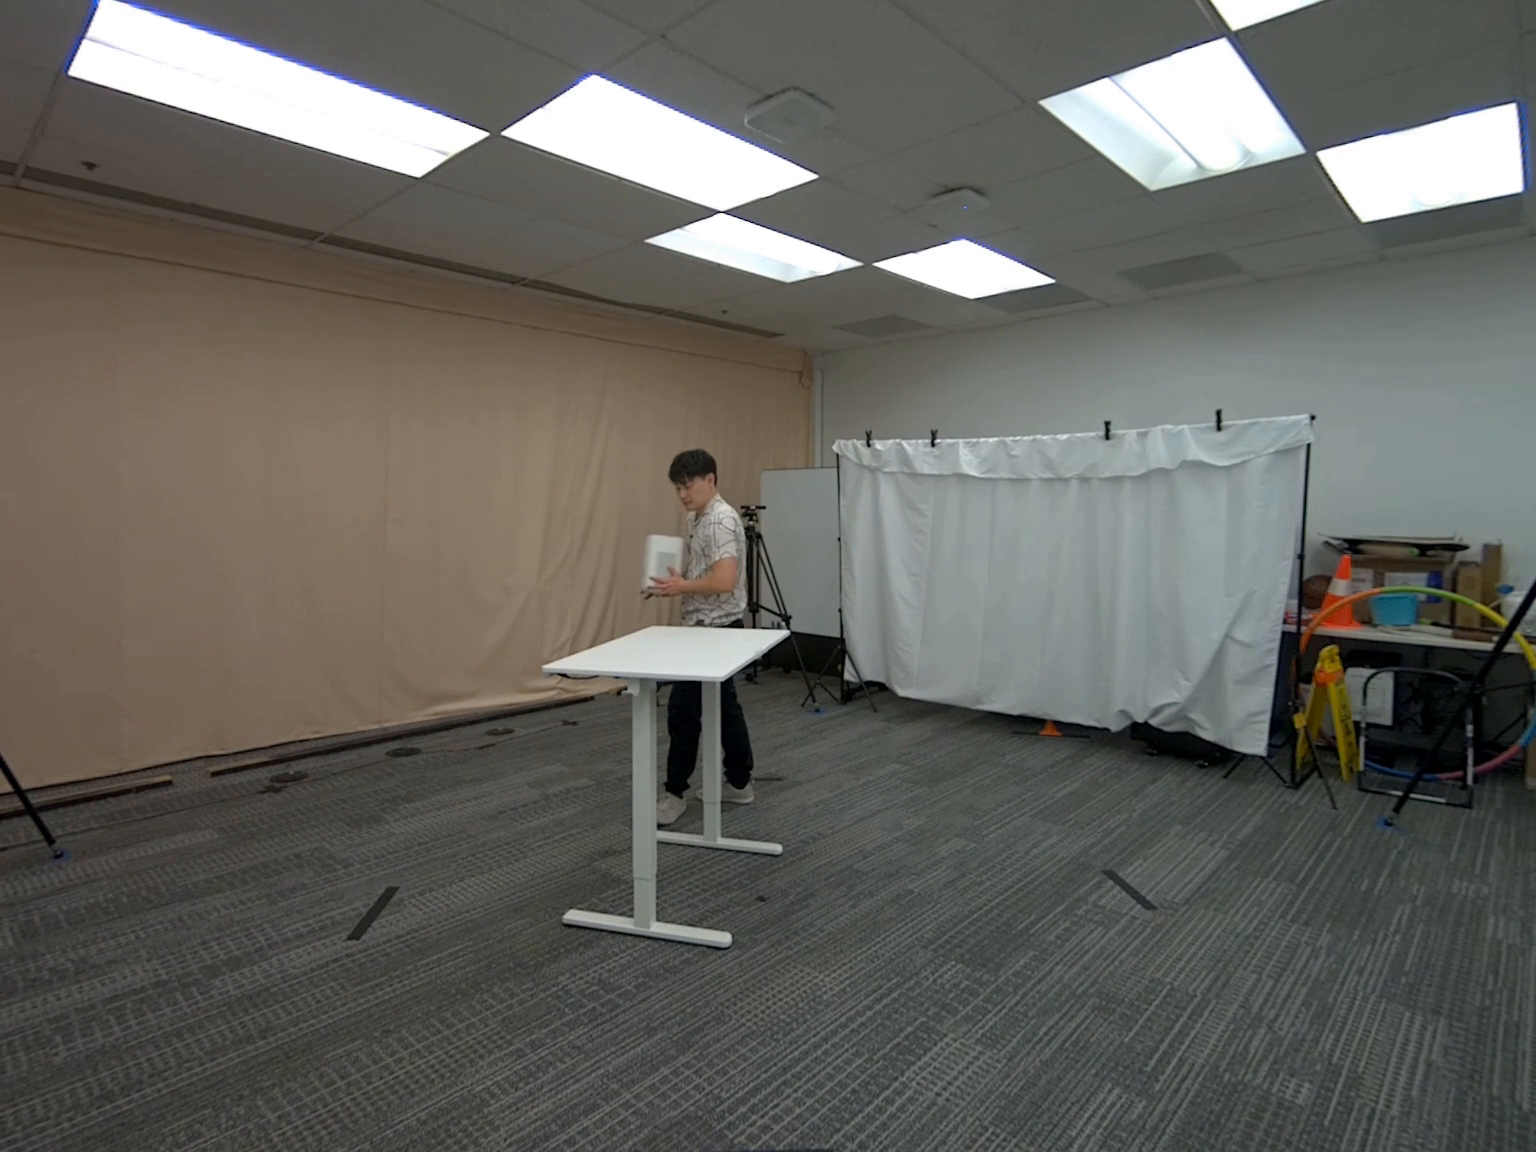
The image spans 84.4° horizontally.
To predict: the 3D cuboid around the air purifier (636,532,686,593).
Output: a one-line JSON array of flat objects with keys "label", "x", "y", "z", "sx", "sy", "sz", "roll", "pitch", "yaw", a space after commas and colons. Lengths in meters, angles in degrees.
[{"label": "air purifier", "x": -0.484, "y": -0.056, "z": 3.846, "sx": 0.168, "sy": 0.265, "sz": 0.174, "roll": 6, "pitch": -2, "yaw": -19}]
